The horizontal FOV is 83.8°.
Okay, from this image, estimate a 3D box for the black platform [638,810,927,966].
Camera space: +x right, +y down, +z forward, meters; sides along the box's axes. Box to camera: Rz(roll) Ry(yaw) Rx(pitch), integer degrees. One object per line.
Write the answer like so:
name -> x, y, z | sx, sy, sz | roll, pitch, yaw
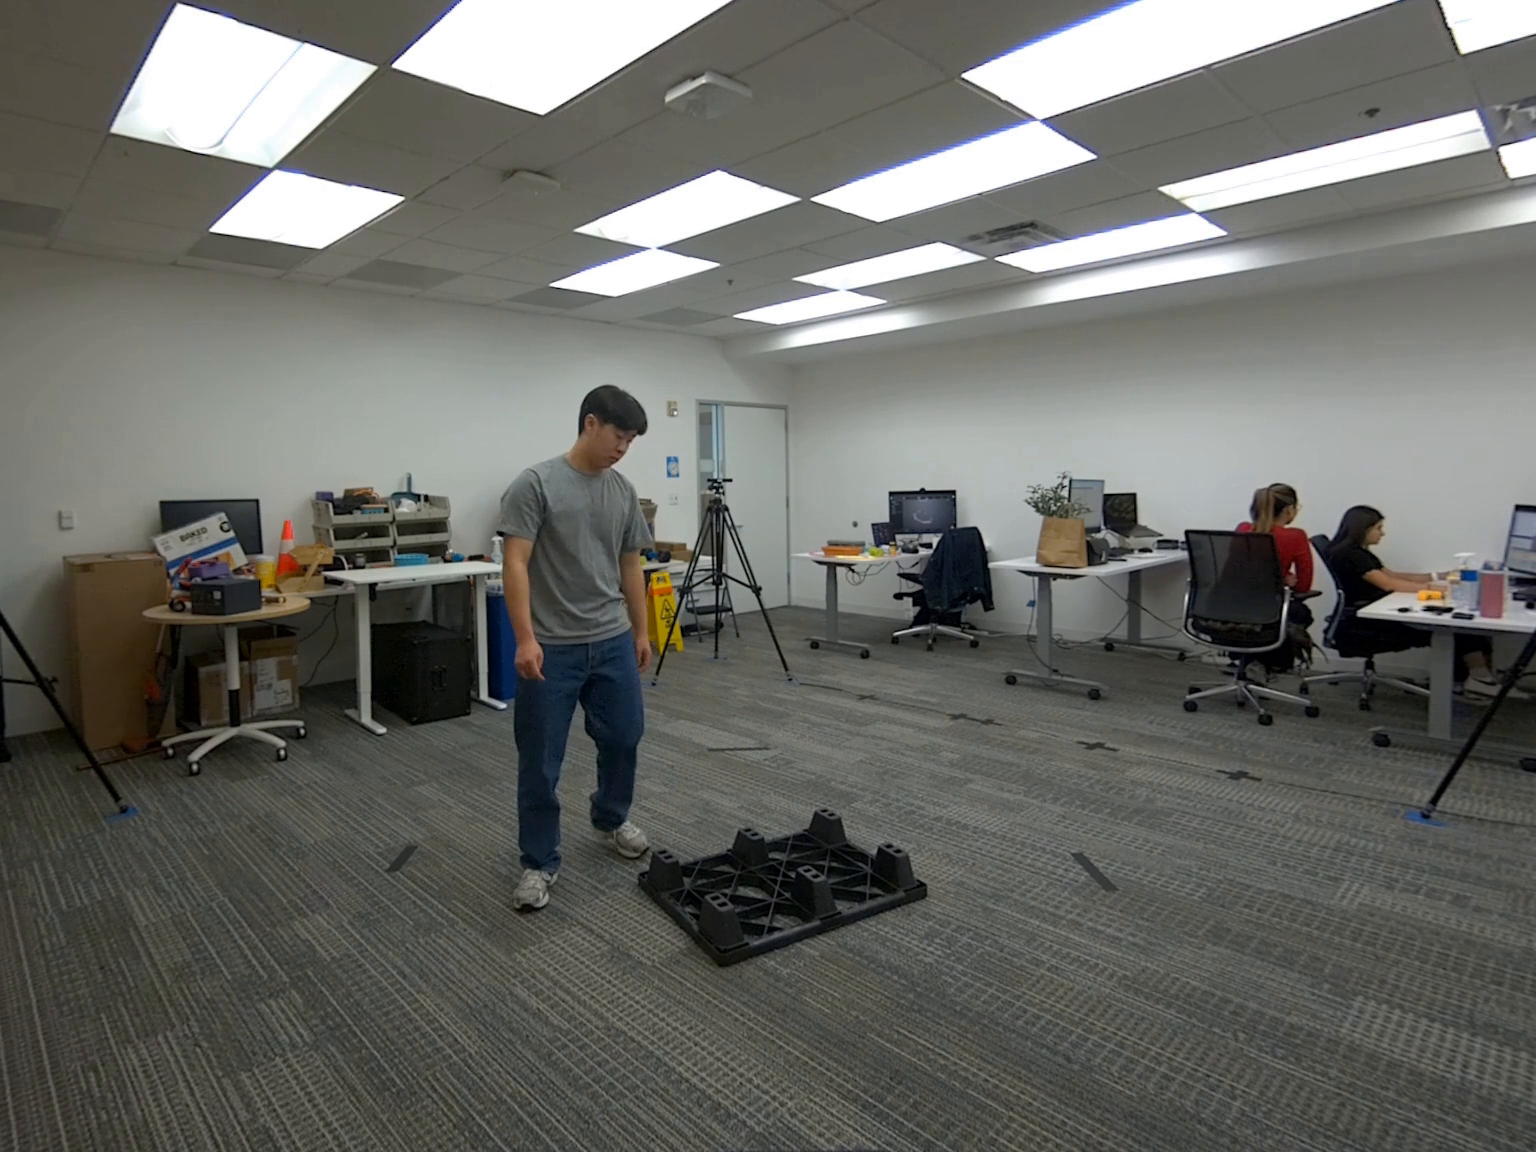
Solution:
black platform -> 0.044, 1.001, 2.896 | 0.786, 0.142, 0.623 | -5, 8, -32
